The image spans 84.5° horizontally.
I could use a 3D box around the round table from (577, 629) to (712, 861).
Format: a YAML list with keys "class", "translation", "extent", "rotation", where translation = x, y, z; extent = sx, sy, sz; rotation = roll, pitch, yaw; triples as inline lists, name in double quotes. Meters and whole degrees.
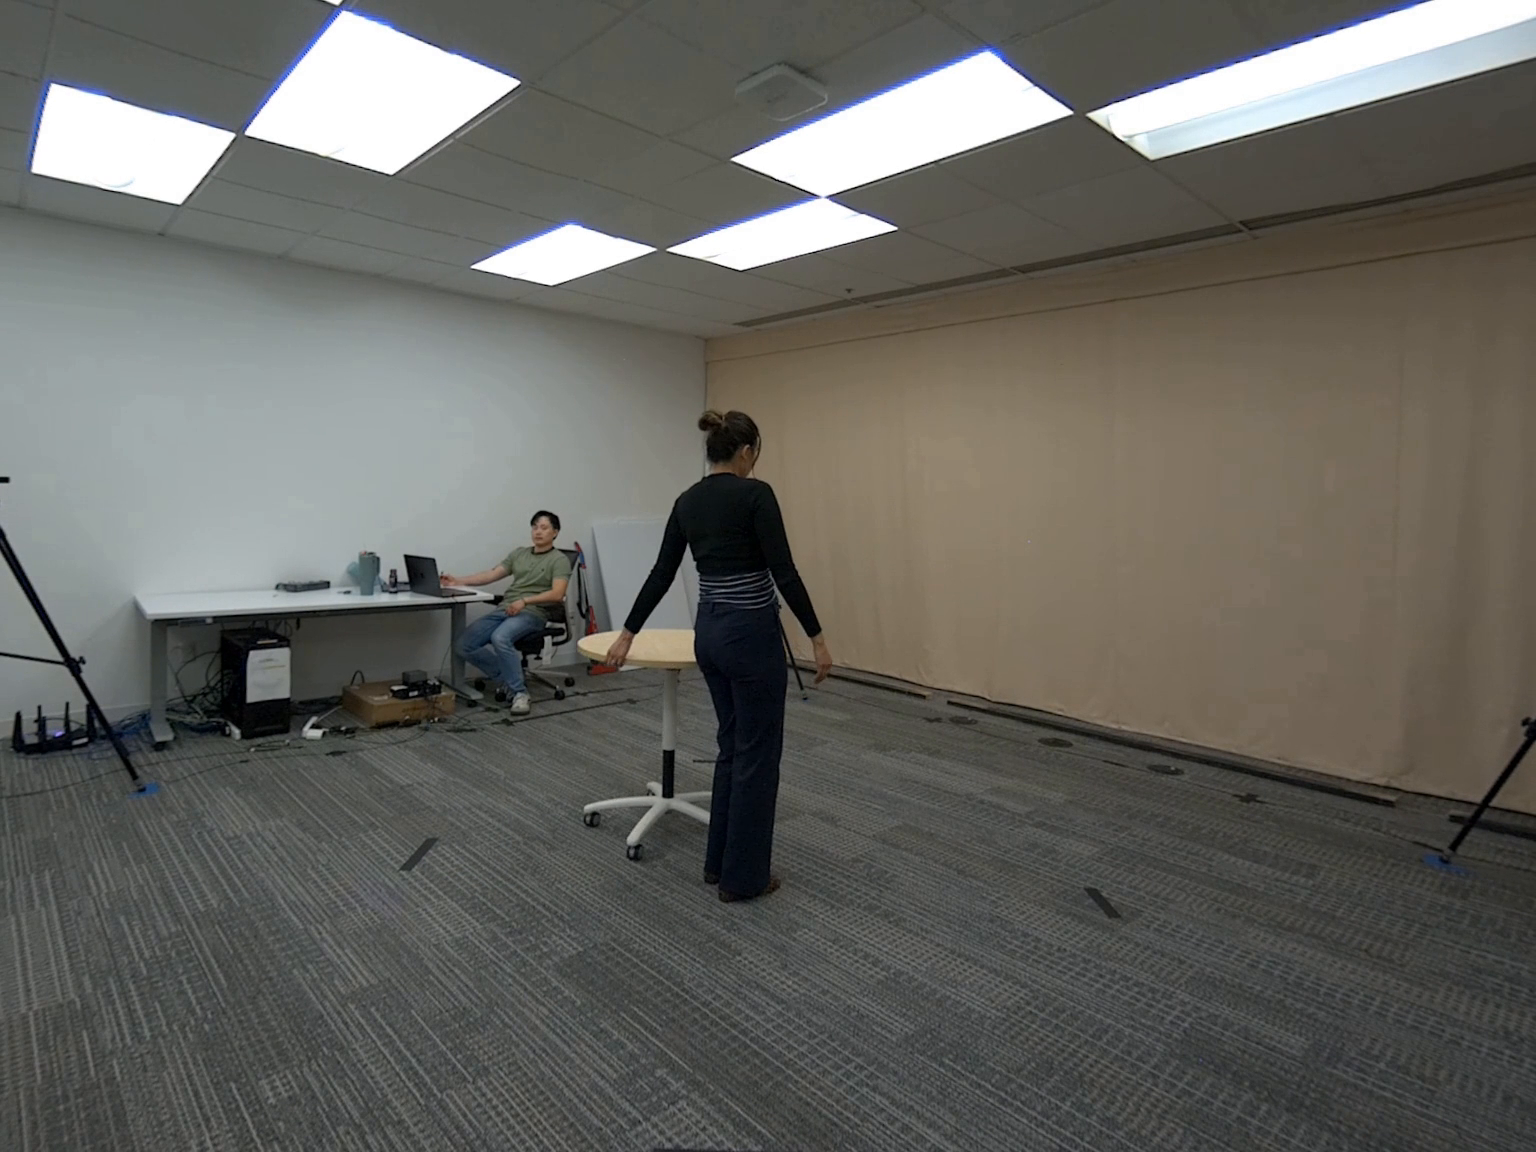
- class: "round table"
  translation: [-0.421, 0.675, 3.501]
  extent: [0.763, 0.792, 0.766]
  rotation: [2, 4, -1]
